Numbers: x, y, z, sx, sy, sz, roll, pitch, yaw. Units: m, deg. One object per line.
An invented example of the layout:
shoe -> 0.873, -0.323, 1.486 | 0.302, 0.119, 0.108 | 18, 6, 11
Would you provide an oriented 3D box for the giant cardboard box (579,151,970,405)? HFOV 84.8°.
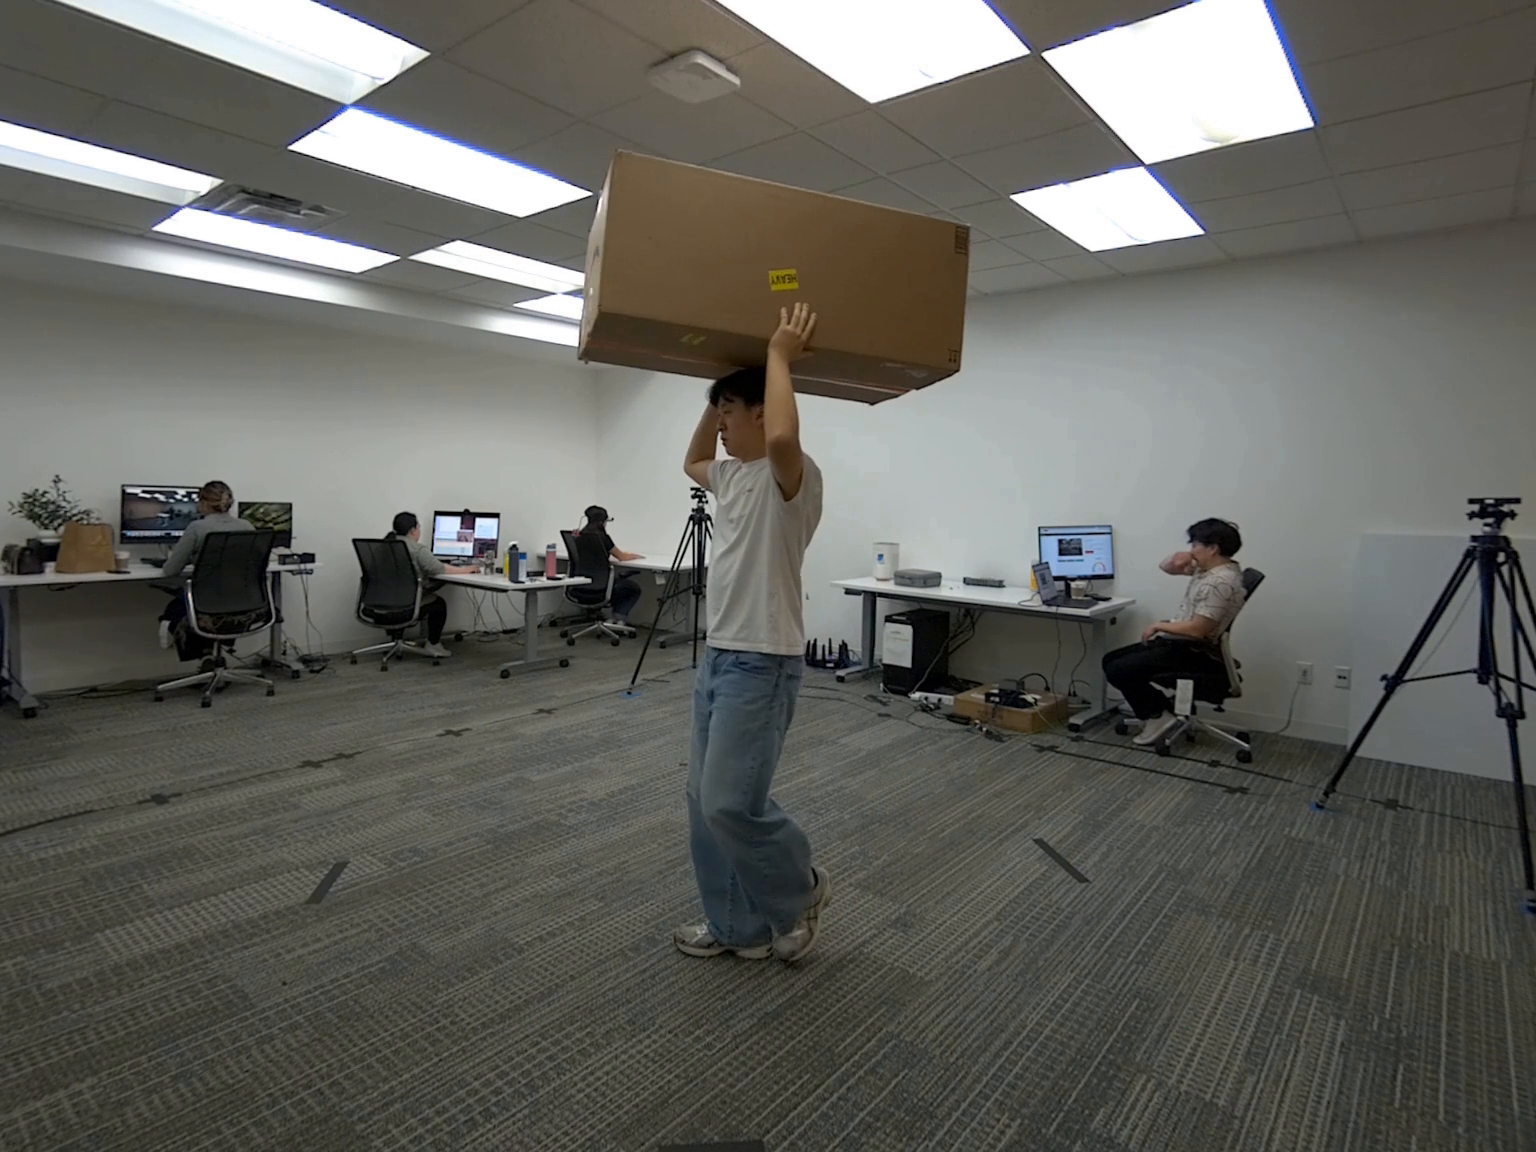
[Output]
giant cardboard box -> -0.017, -0.834, 2.530 | 1.008, 0.427, 0.586 | 6, -2, -16
